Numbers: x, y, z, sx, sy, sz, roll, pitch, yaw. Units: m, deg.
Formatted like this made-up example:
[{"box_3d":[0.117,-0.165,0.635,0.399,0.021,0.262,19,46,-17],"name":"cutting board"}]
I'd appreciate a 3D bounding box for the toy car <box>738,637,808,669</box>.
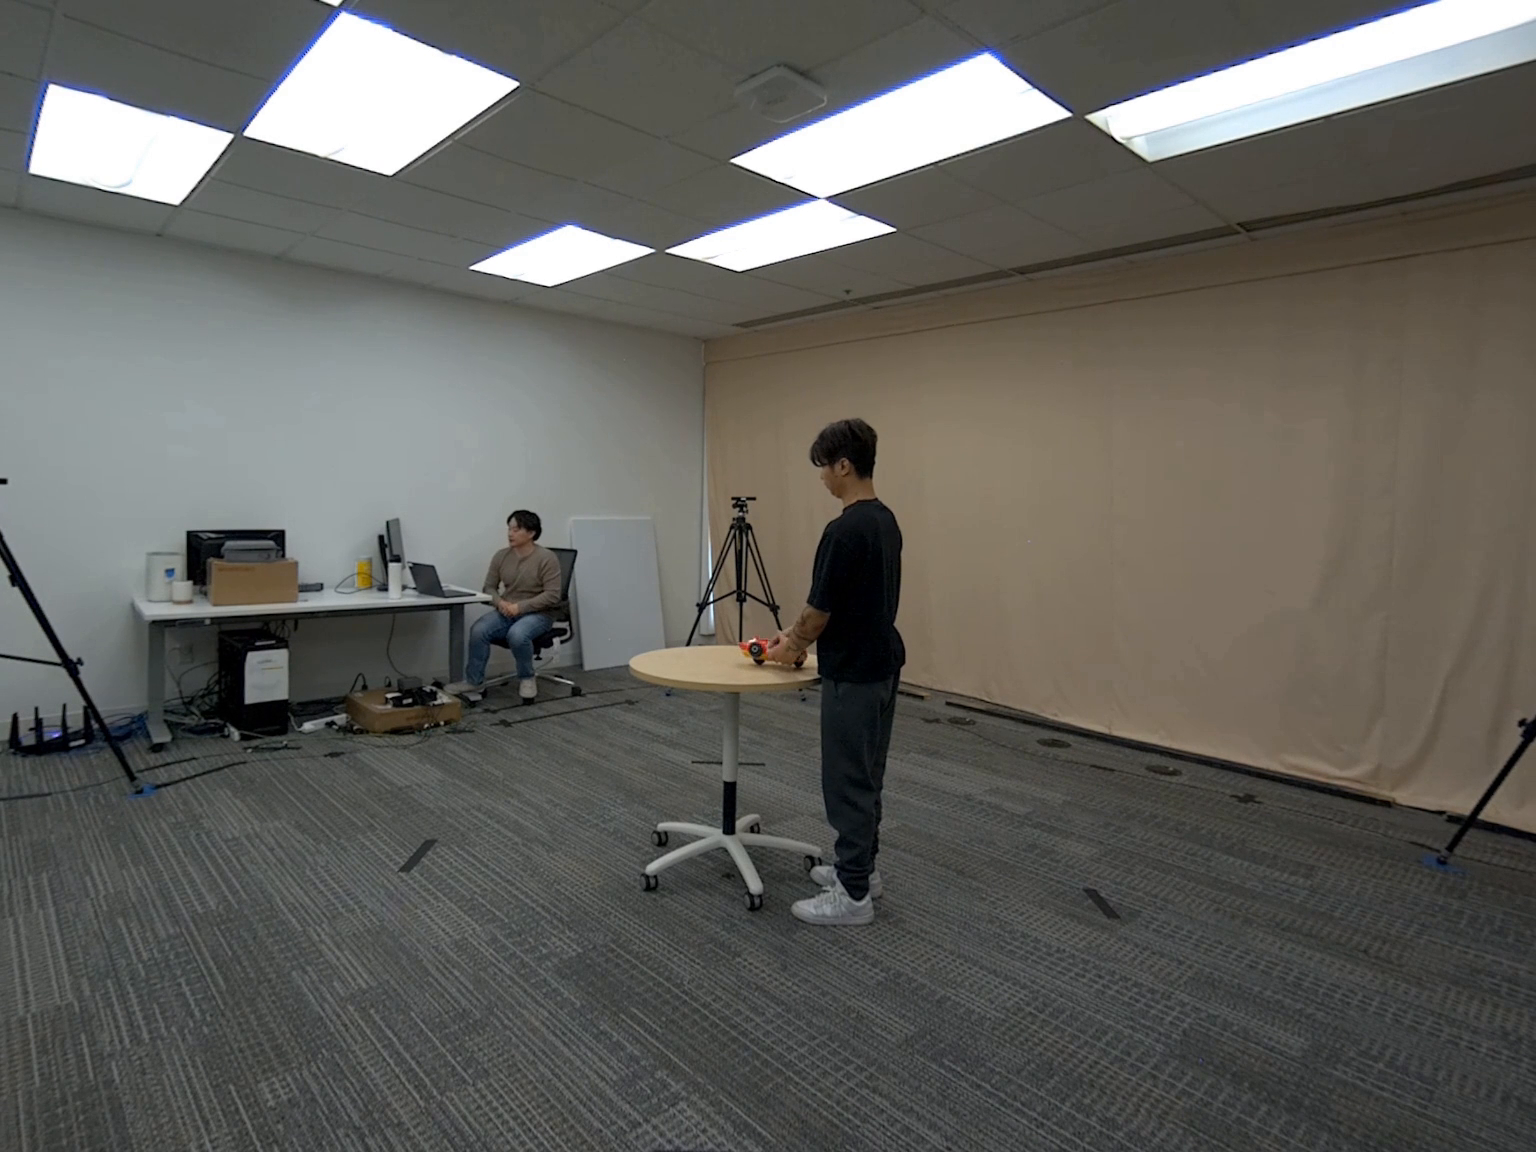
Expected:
[{"box_3d":[0.008,0.276,3.060,0.258,0.084,0.127,11,-21,14],"name":"toy car"}]
